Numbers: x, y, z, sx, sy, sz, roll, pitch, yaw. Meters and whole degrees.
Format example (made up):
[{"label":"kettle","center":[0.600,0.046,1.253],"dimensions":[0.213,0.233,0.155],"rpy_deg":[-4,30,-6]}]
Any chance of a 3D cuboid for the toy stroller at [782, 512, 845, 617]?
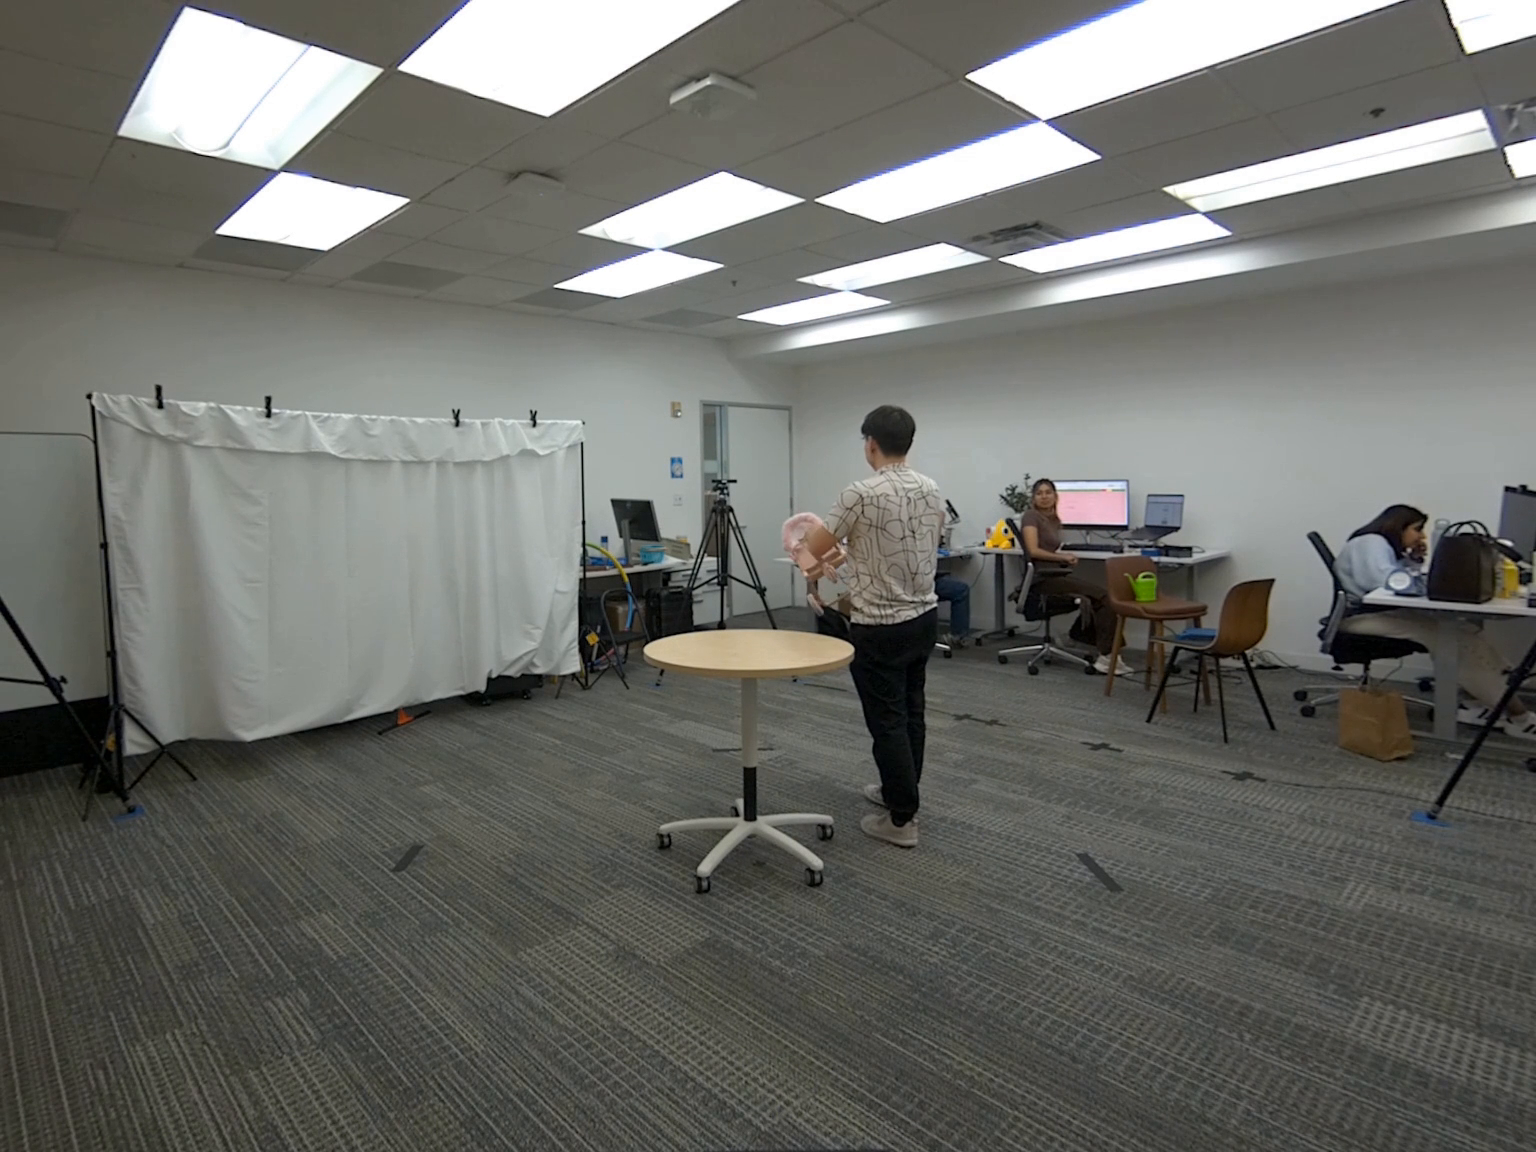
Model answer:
[{"label":"toy stroller","center":[0.219,-0.093,3.801],"dimensions":[0.282,0.555,0.328],"rpy_deg":[-33,-41,5]}]
